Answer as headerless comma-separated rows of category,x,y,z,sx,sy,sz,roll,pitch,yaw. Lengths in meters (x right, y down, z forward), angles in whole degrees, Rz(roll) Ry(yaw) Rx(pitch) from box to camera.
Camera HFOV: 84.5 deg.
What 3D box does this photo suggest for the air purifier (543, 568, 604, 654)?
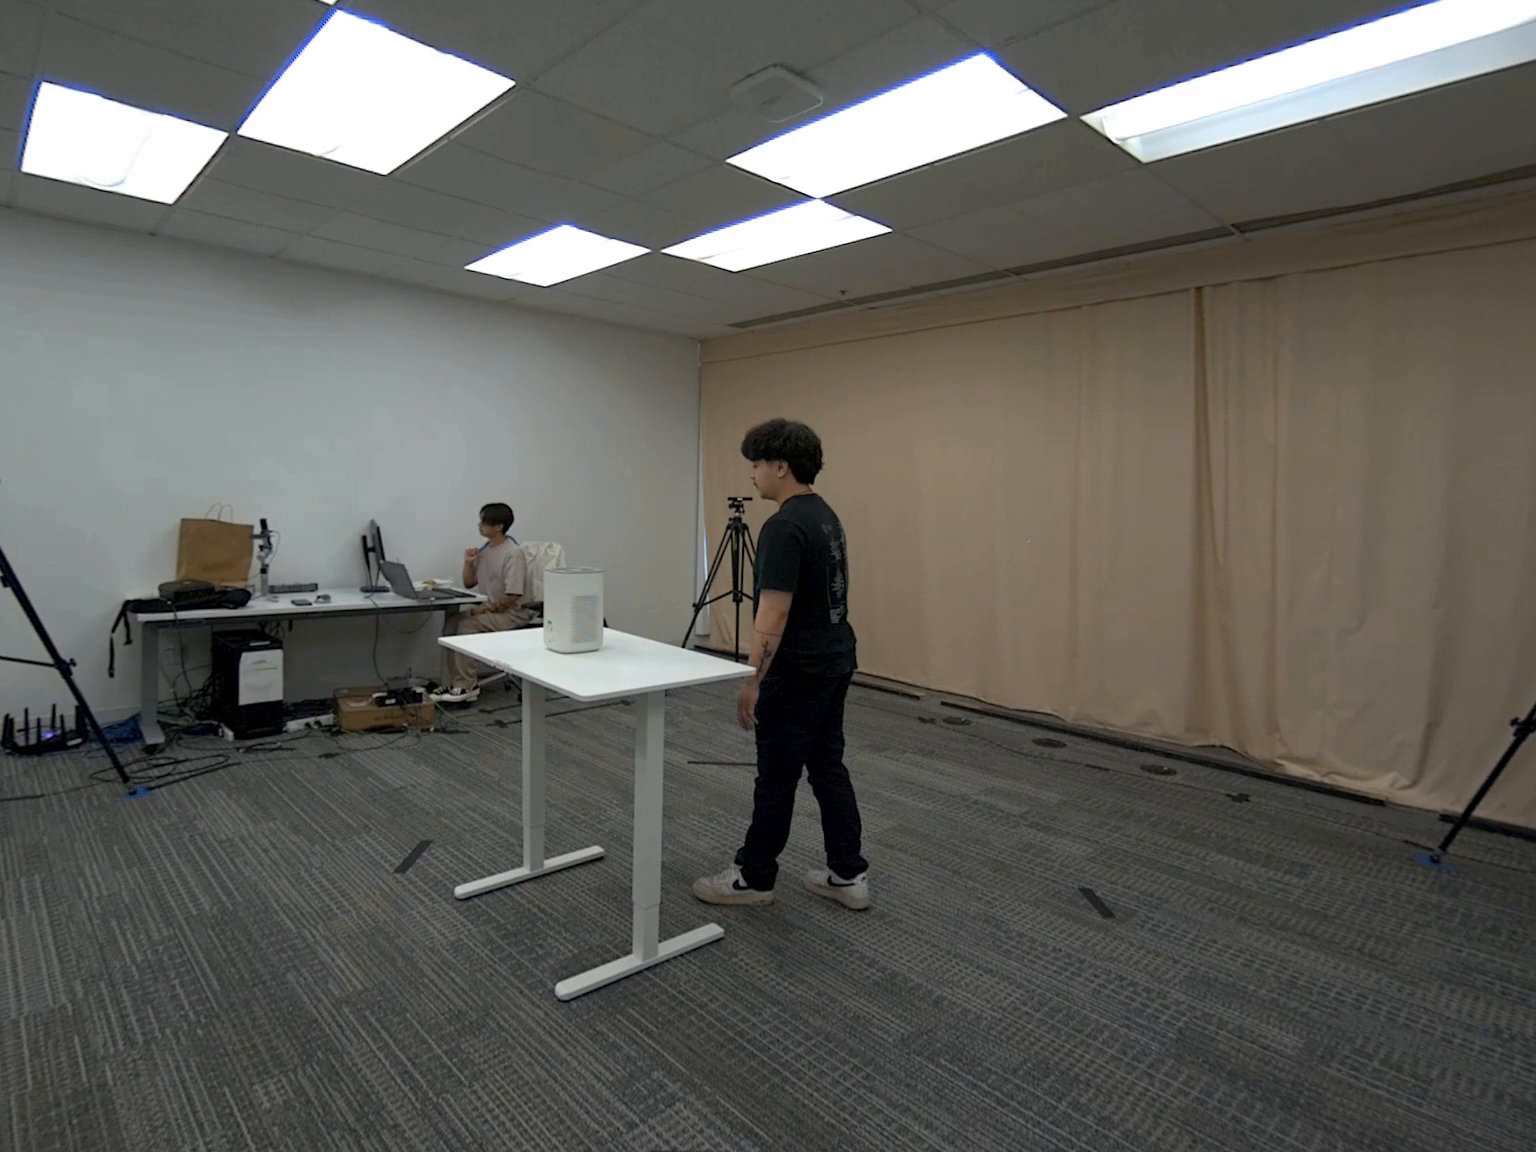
air purifier,-0.641,0.113,2.772,0.168,0.265,0.175,-1,5,-40
